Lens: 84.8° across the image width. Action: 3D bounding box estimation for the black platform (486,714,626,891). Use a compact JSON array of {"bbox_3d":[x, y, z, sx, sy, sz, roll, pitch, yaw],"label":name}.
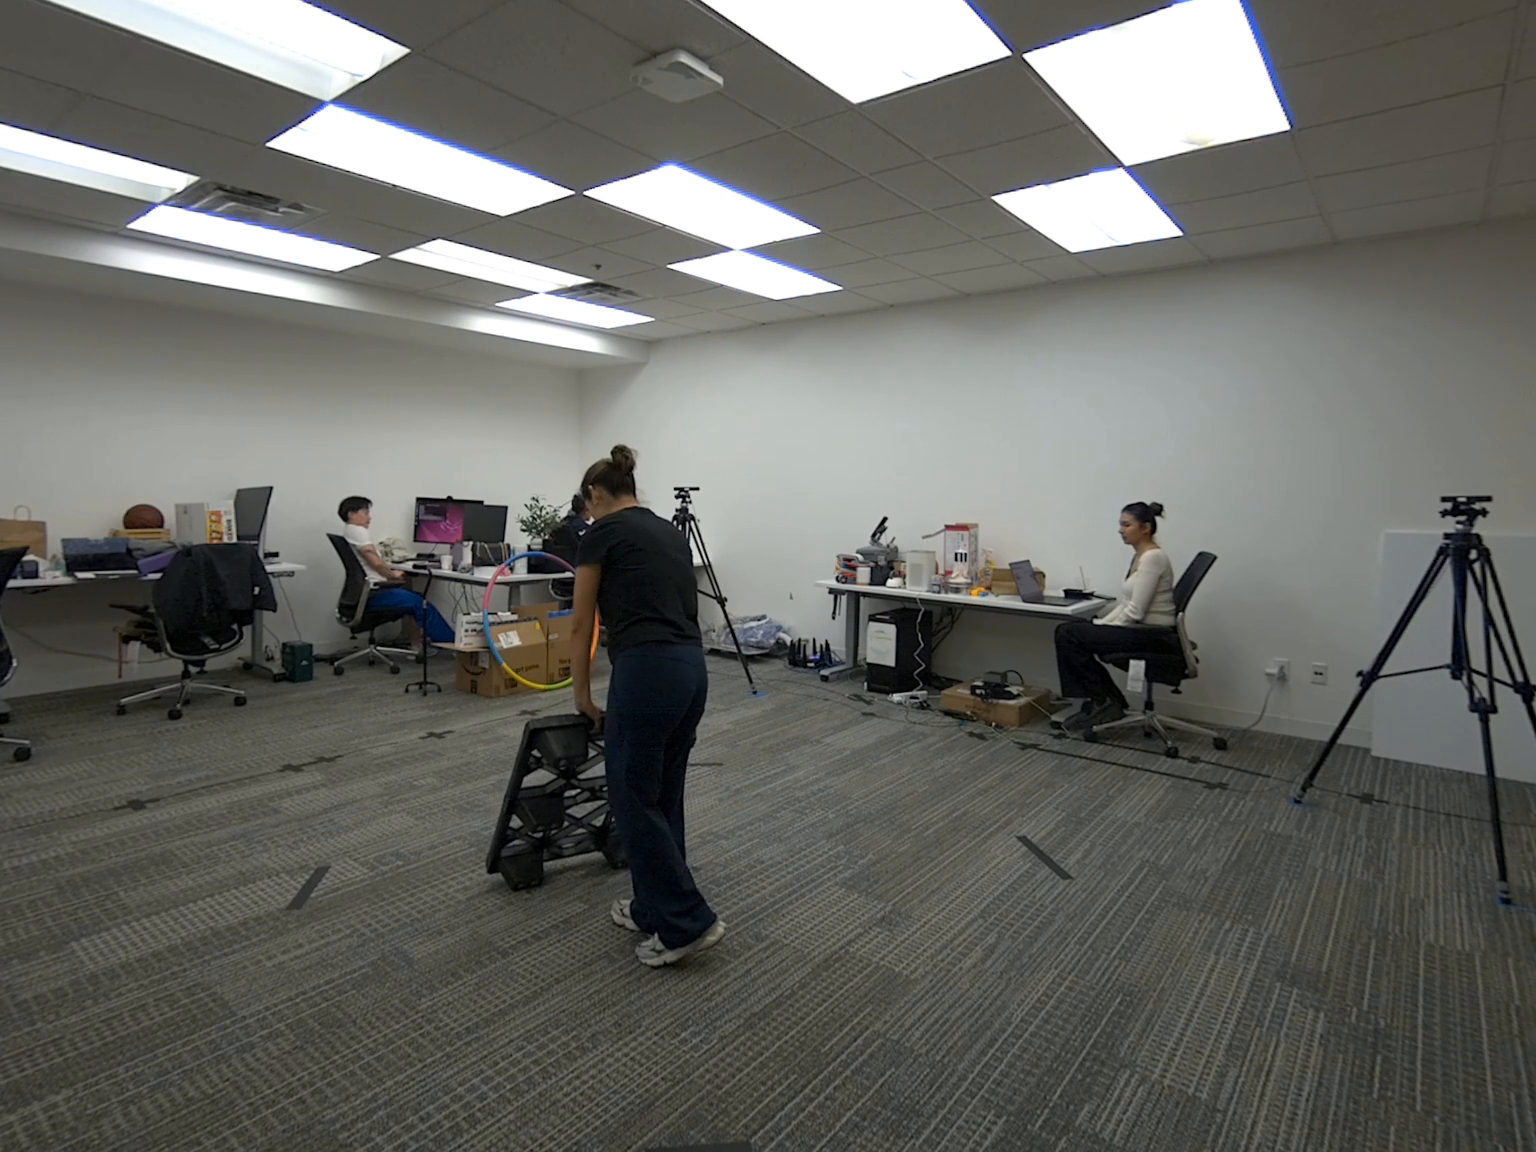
[{"bbox_3d":[-0.569,0.753,2.884,0.589,0.794,0.149,-1,42,-30],"label":"black platform"}]
